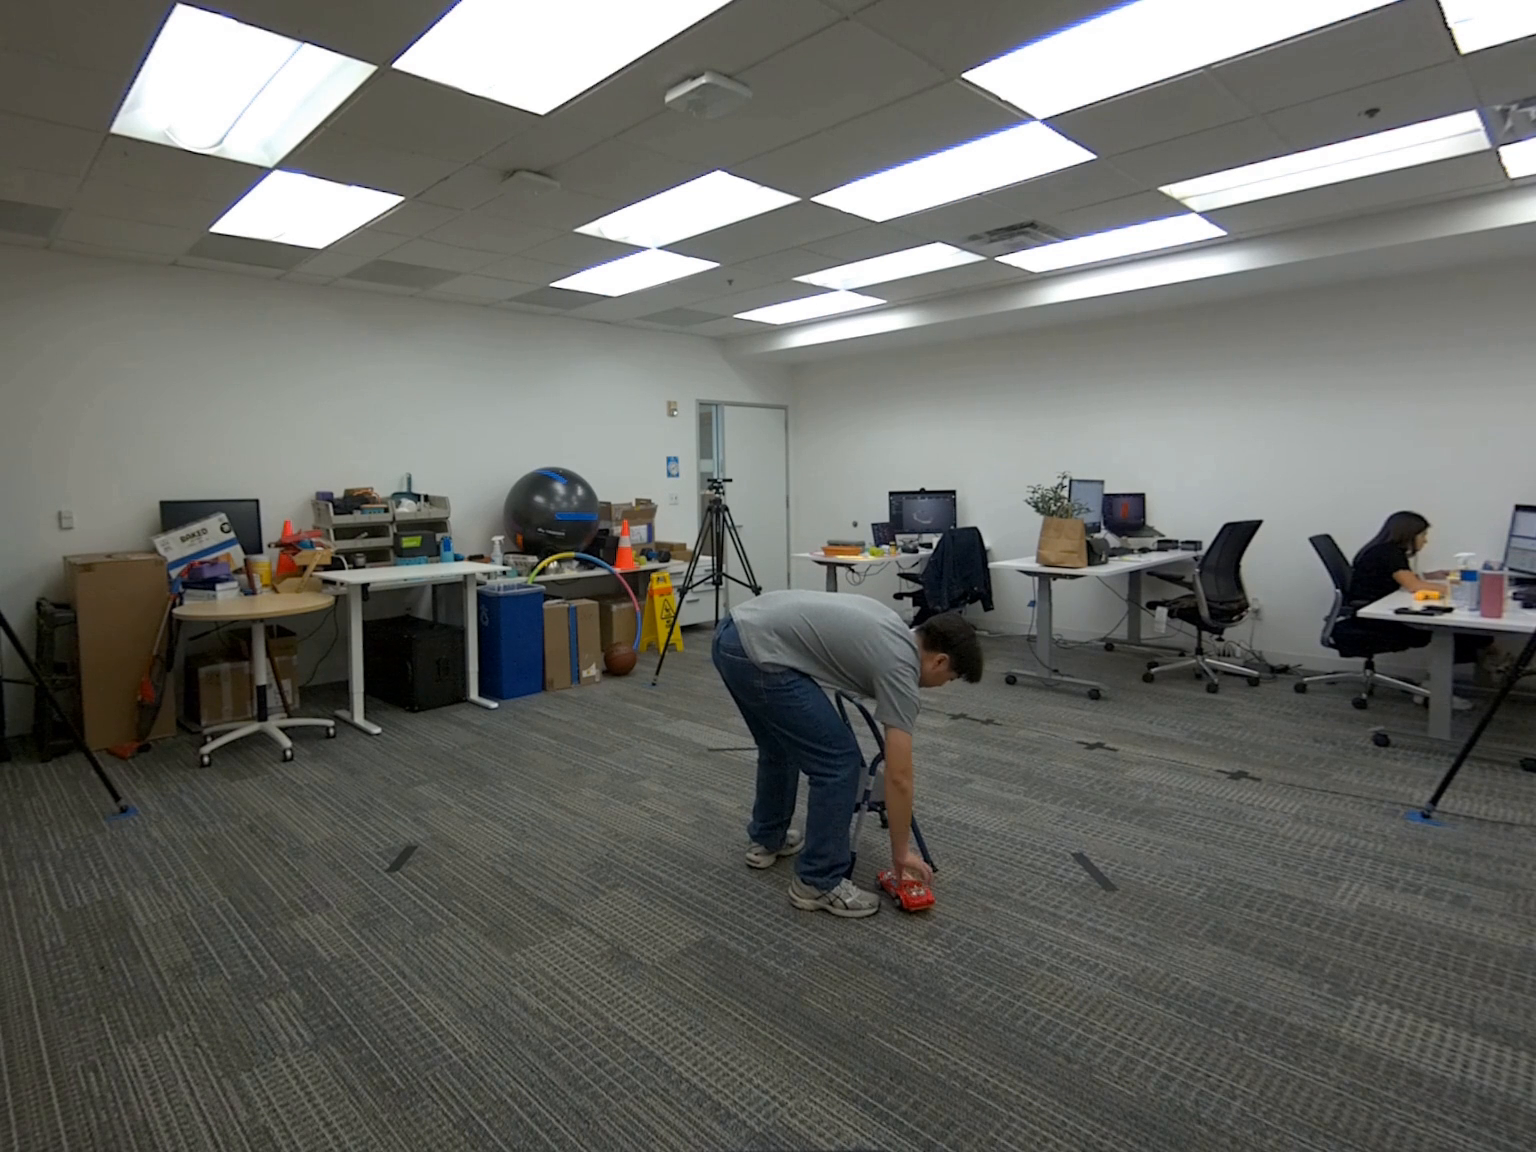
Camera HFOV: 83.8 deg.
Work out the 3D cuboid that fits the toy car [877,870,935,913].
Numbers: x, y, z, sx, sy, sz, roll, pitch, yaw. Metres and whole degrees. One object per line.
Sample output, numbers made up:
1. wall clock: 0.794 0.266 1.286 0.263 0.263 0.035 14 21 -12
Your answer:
1. toy car: 0.450 1.041 2.812 0.129 0.083 0.256 -2 -3 -14
